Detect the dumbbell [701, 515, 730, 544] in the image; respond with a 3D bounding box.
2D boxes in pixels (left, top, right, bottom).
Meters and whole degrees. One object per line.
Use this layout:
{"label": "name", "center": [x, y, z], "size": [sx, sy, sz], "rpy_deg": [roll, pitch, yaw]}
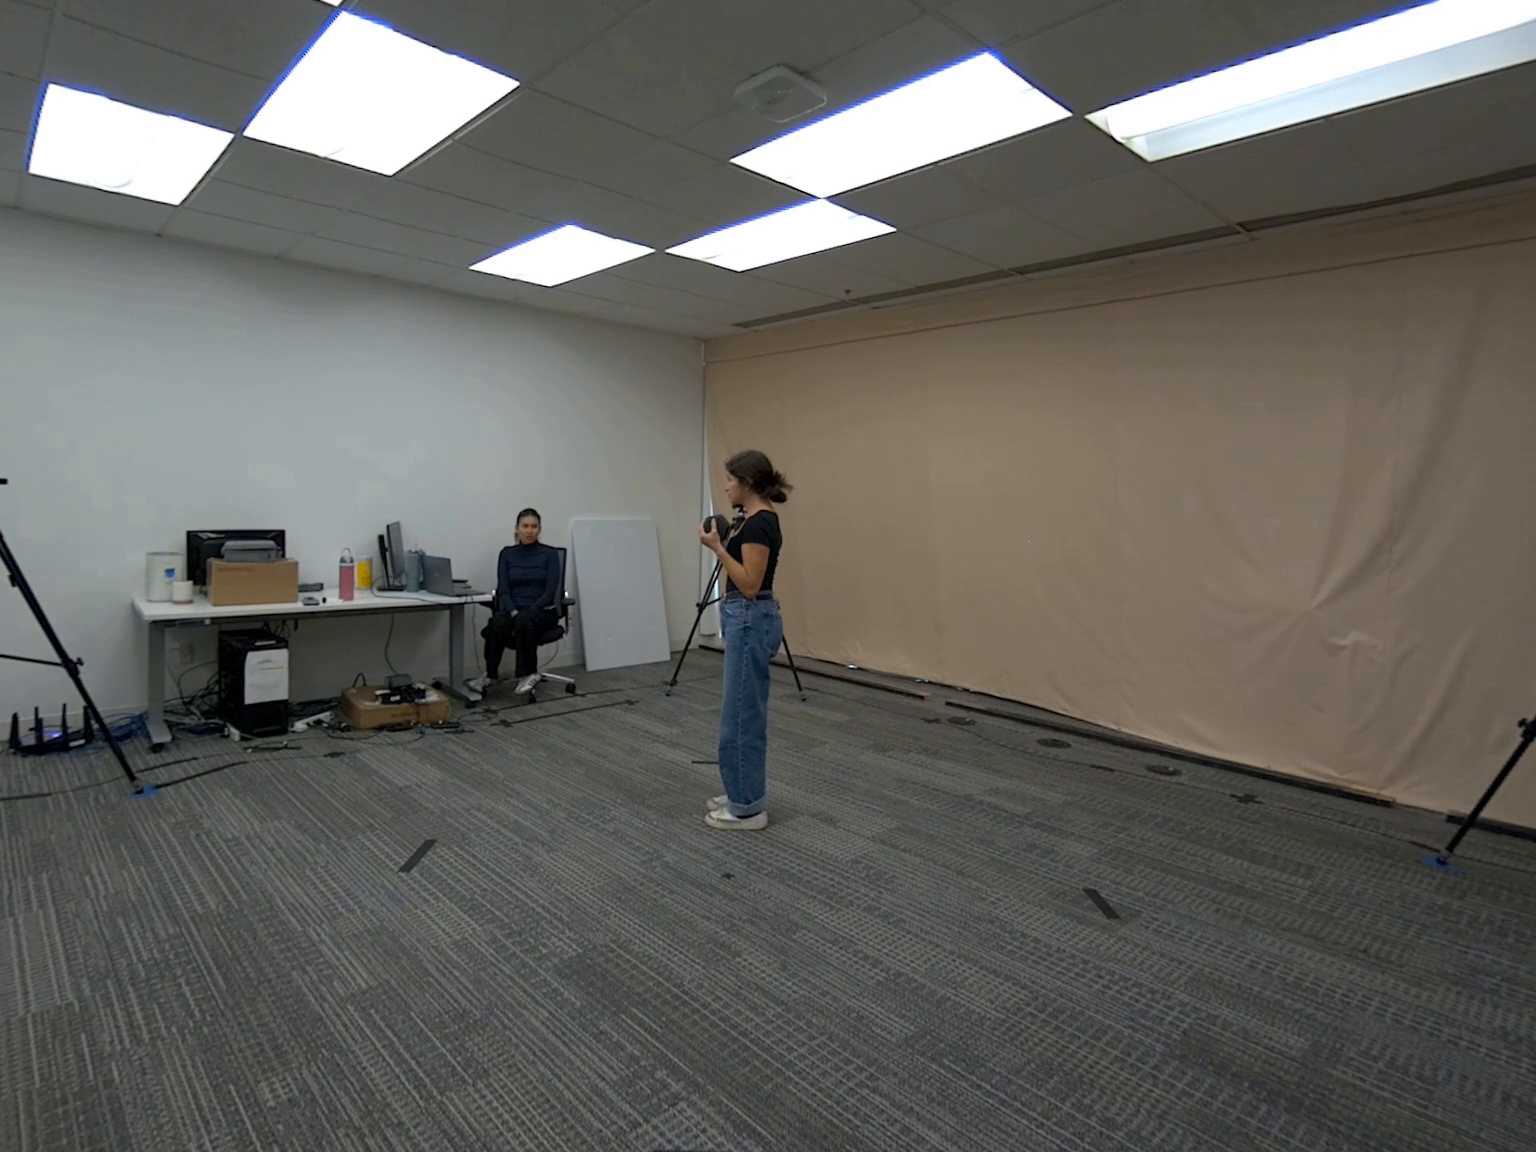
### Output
{"label": "dumbbell", "center": [-0.234, -0.202, 3.624], "size": [0.108, 0.123, 0.294], "rpy_deg": [19, 2, -4]}
